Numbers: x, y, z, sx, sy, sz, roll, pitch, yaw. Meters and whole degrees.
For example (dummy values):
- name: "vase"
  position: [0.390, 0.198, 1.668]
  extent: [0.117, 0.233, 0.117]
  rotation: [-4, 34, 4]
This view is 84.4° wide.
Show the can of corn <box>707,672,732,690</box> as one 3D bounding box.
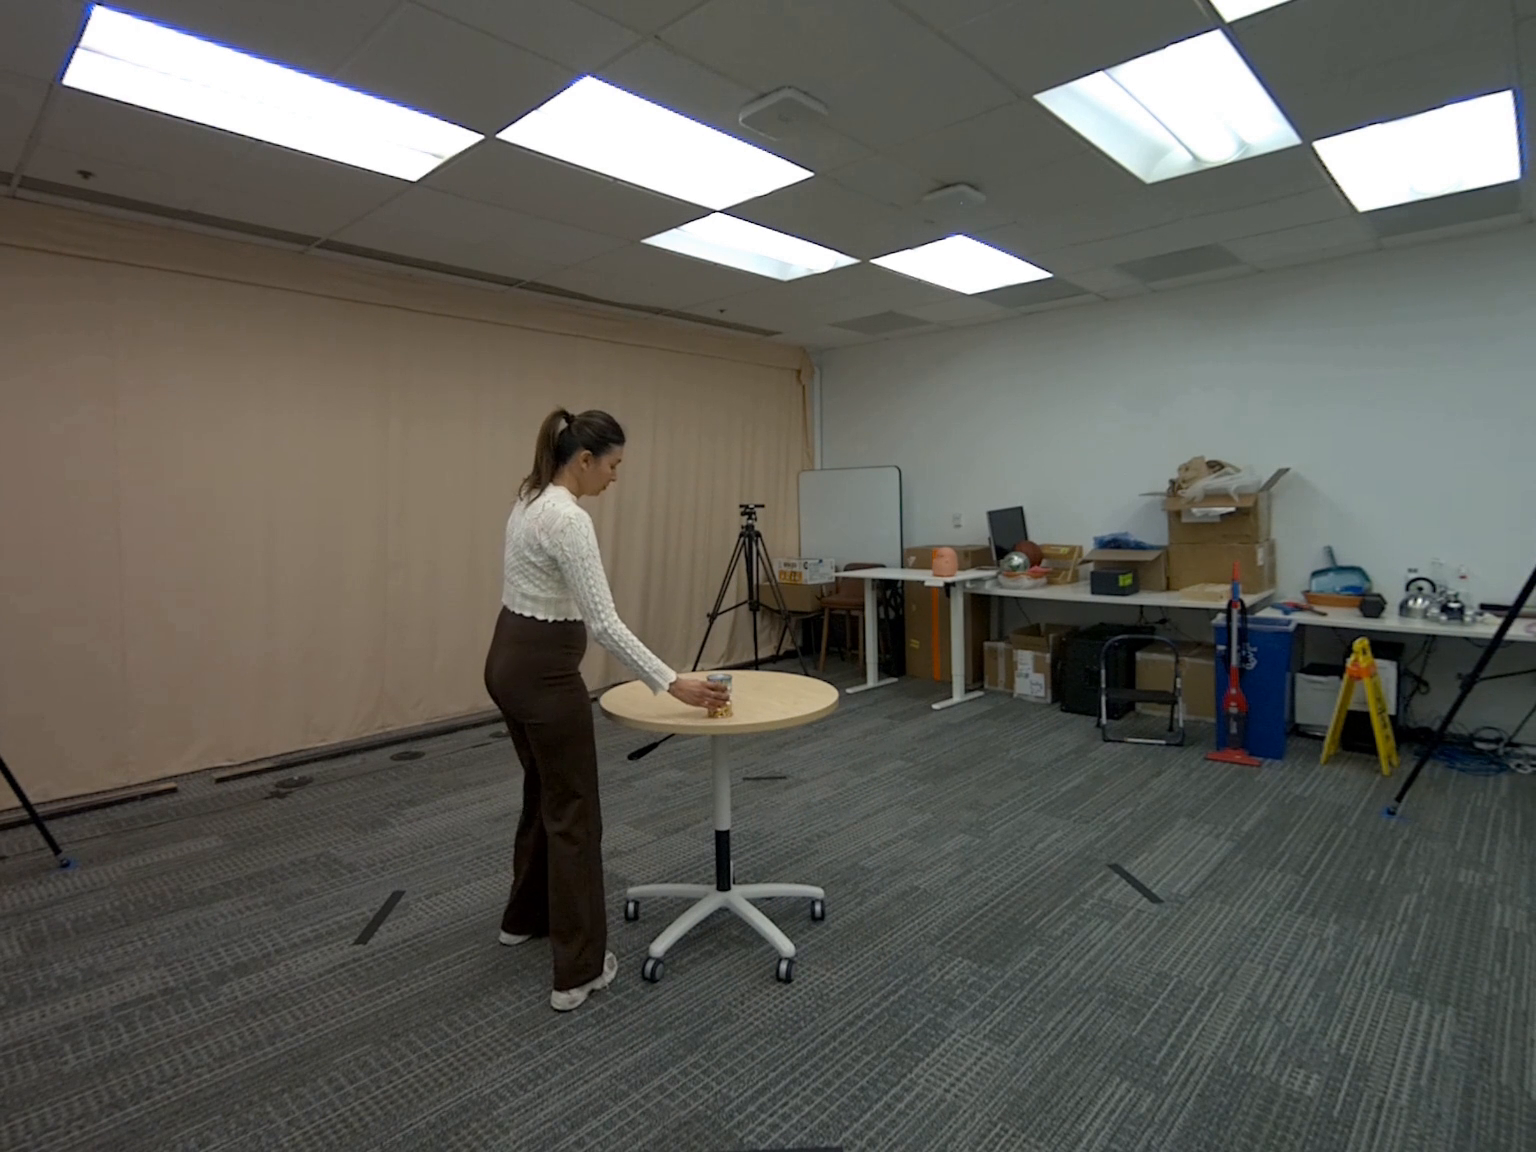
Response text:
- name: "can of corn"
  position: [-0.145, 0.358, 2.419]
  extent: [0.074, 0.110, 0.074]
  rotation: [-6, 5, -1]
